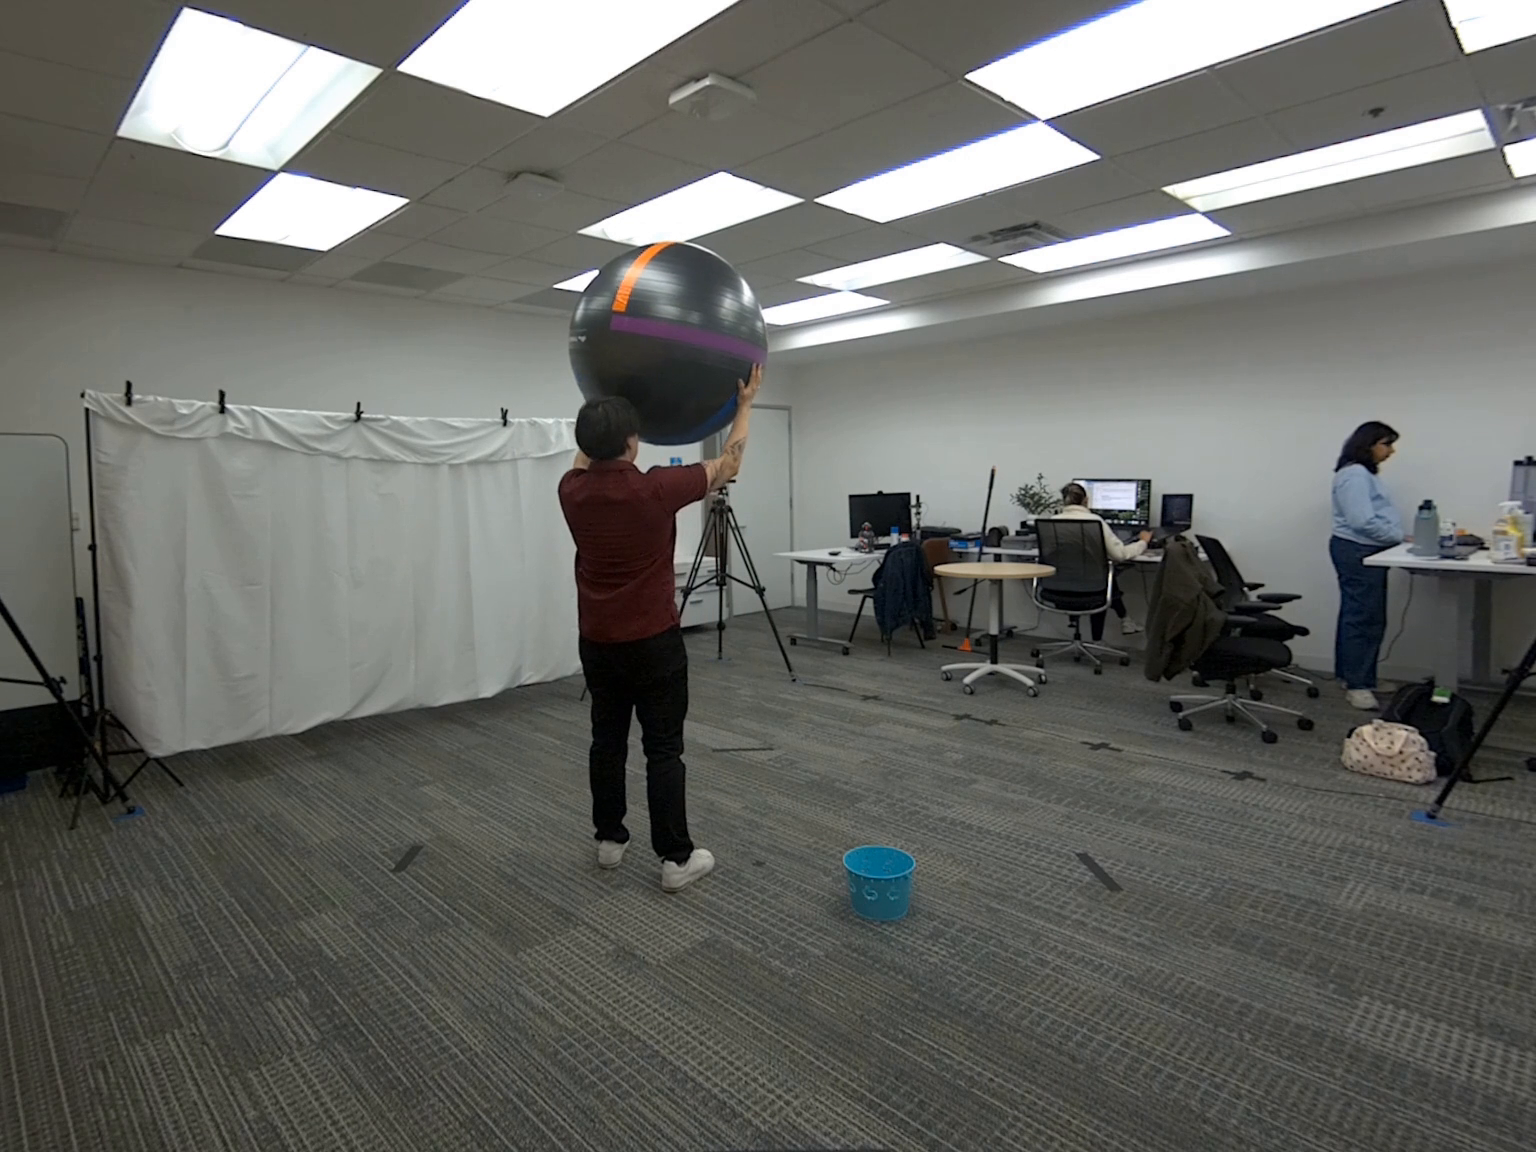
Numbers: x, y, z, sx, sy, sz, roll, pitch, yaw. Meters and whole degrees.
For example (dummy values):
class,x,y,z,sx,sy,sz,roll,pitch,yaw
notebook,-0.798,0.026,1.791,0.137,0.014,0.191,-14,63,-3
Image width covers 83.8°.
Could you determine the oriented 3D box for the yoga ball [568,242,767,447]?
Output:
class,x,y,z,sx,sy,sz,roll,pitch,yaw
yoga ball,-0.386,-0.875,3.266,0.757,0.755,0.762,-1,5,-2
